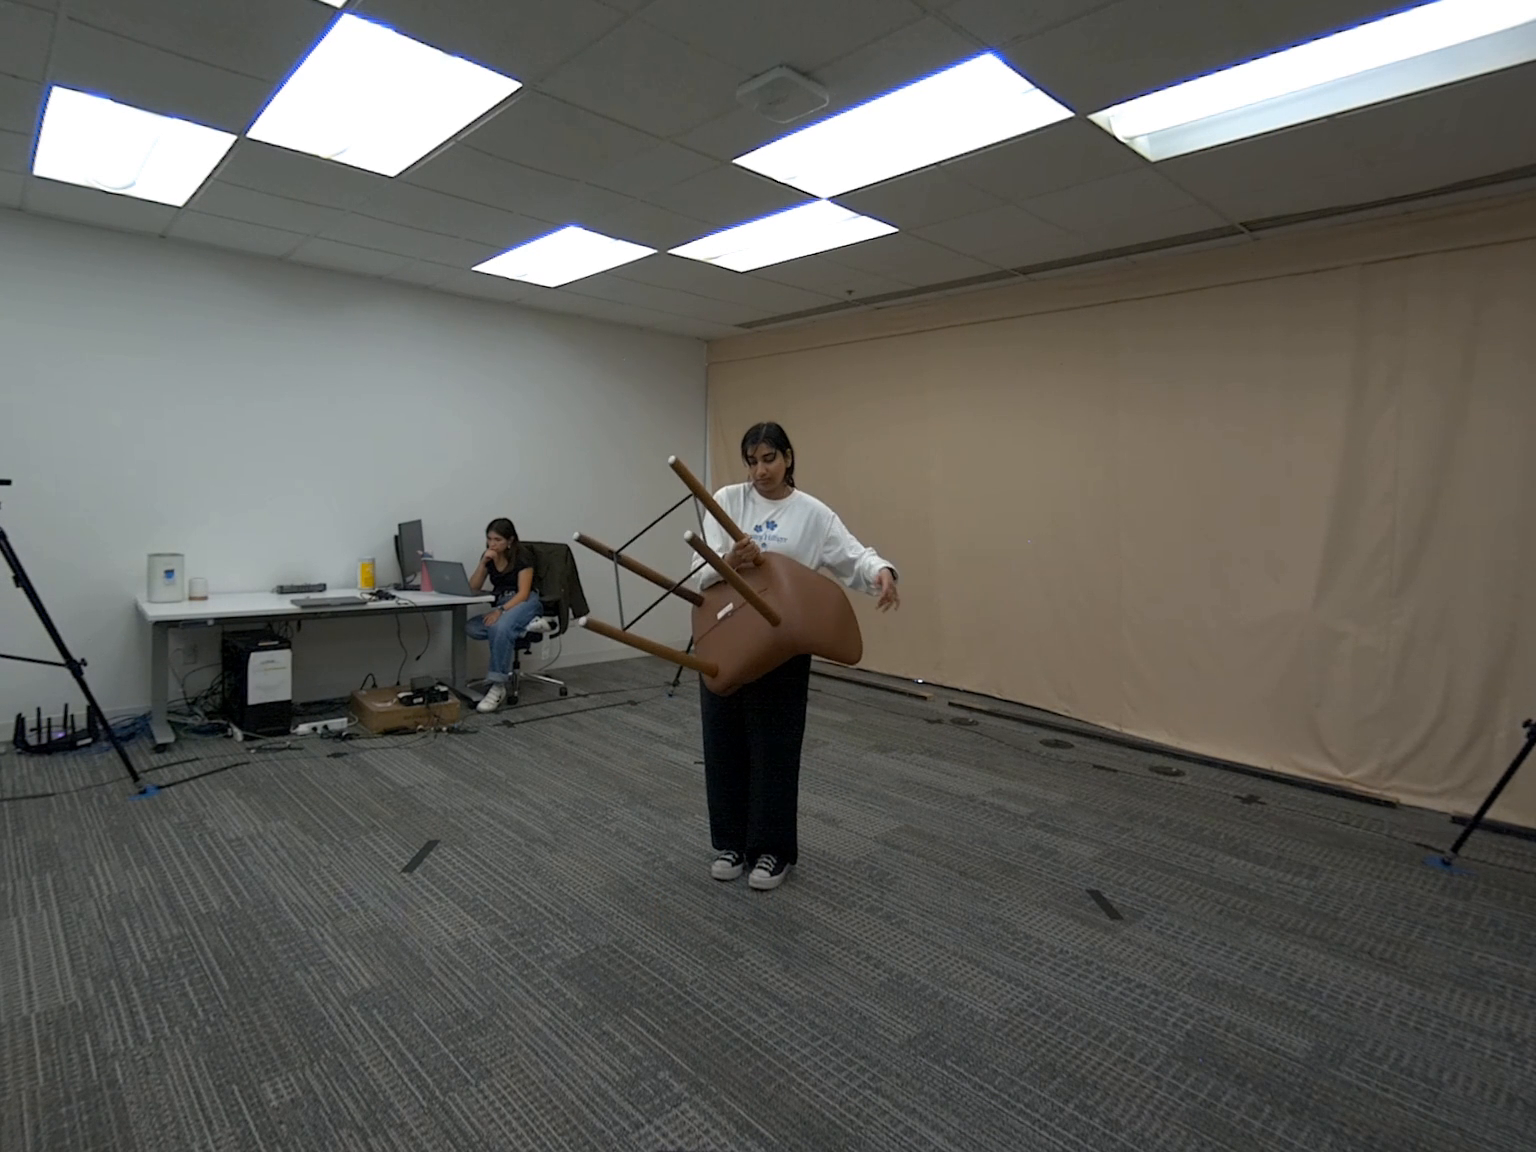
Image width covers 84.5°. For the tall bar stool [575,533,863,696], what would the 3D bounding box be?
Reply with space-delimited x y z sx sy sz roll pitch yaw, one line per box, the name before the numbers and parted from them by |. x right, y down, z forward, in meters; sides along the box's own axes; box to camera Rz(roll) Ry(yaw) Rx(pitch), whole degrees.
tall bar stool | -0.148 0.078 2.766 0.469 0.469 0.863 -38 -49 22
